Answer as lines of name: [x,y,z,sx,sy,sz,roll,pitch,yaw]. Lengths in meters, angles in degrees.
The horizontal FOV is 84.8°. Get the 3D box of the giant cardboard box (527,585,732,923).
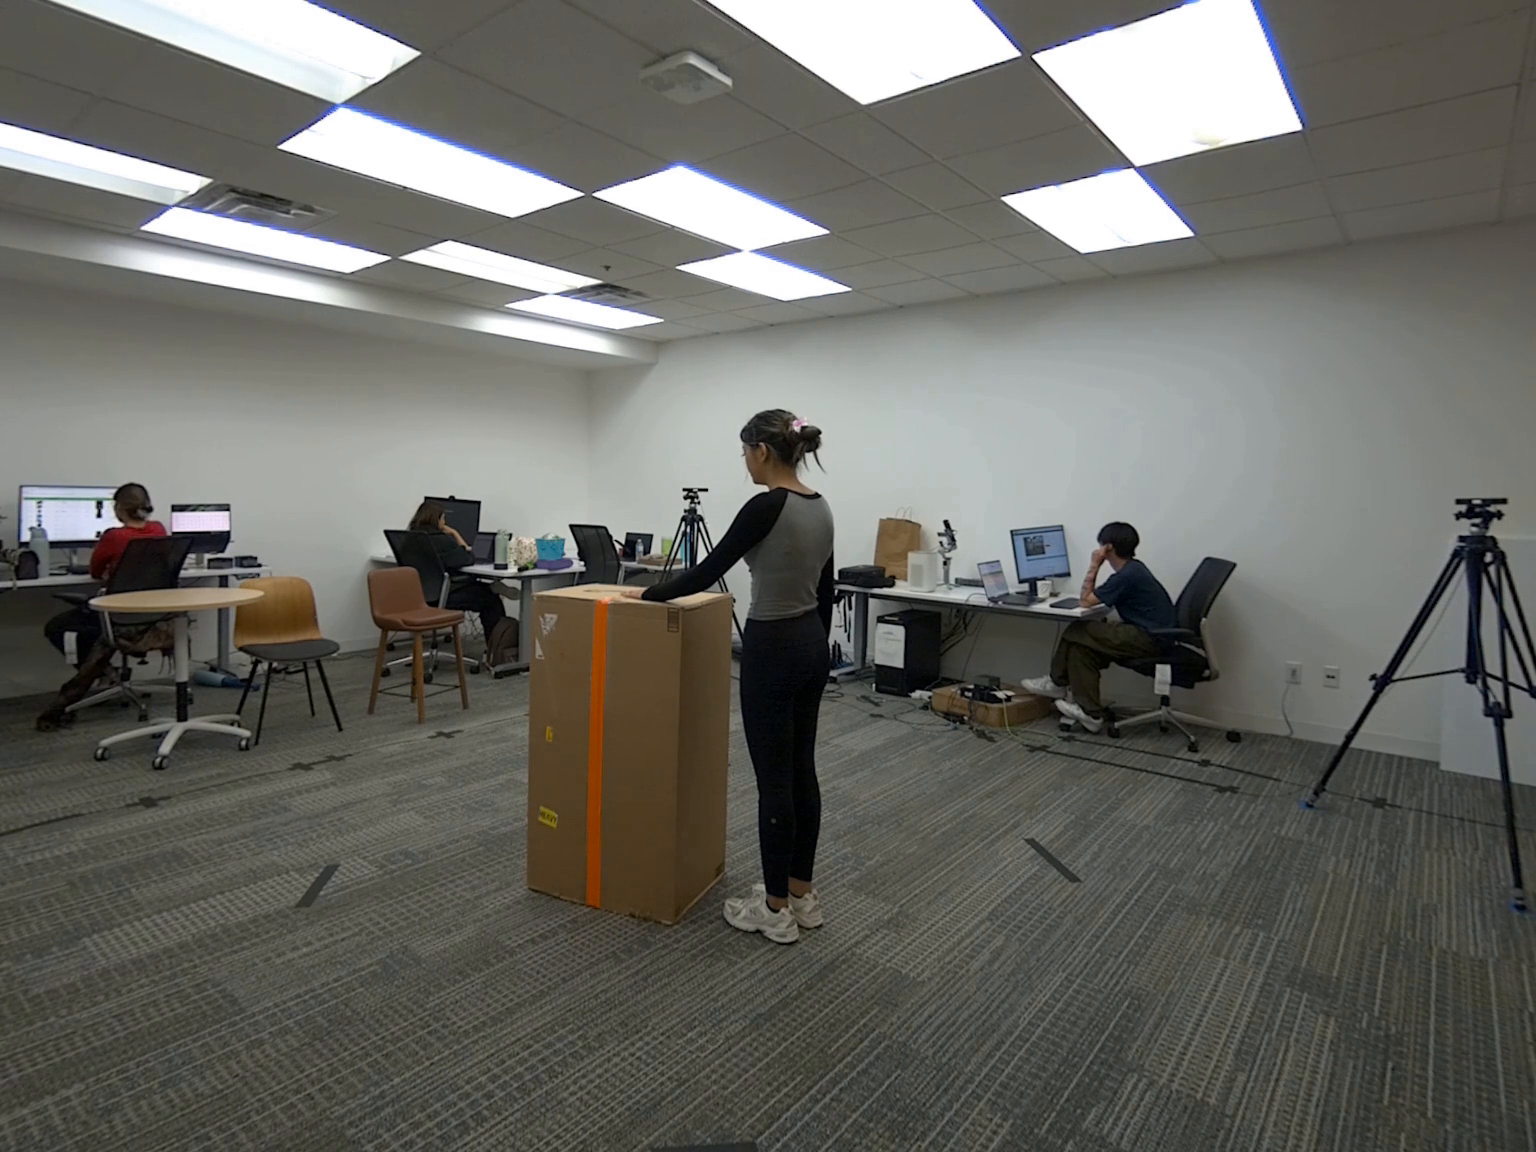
giant cardboard box: [-0.494,0.572,2.979,0.598,1.025,0.437,3,3,22]
